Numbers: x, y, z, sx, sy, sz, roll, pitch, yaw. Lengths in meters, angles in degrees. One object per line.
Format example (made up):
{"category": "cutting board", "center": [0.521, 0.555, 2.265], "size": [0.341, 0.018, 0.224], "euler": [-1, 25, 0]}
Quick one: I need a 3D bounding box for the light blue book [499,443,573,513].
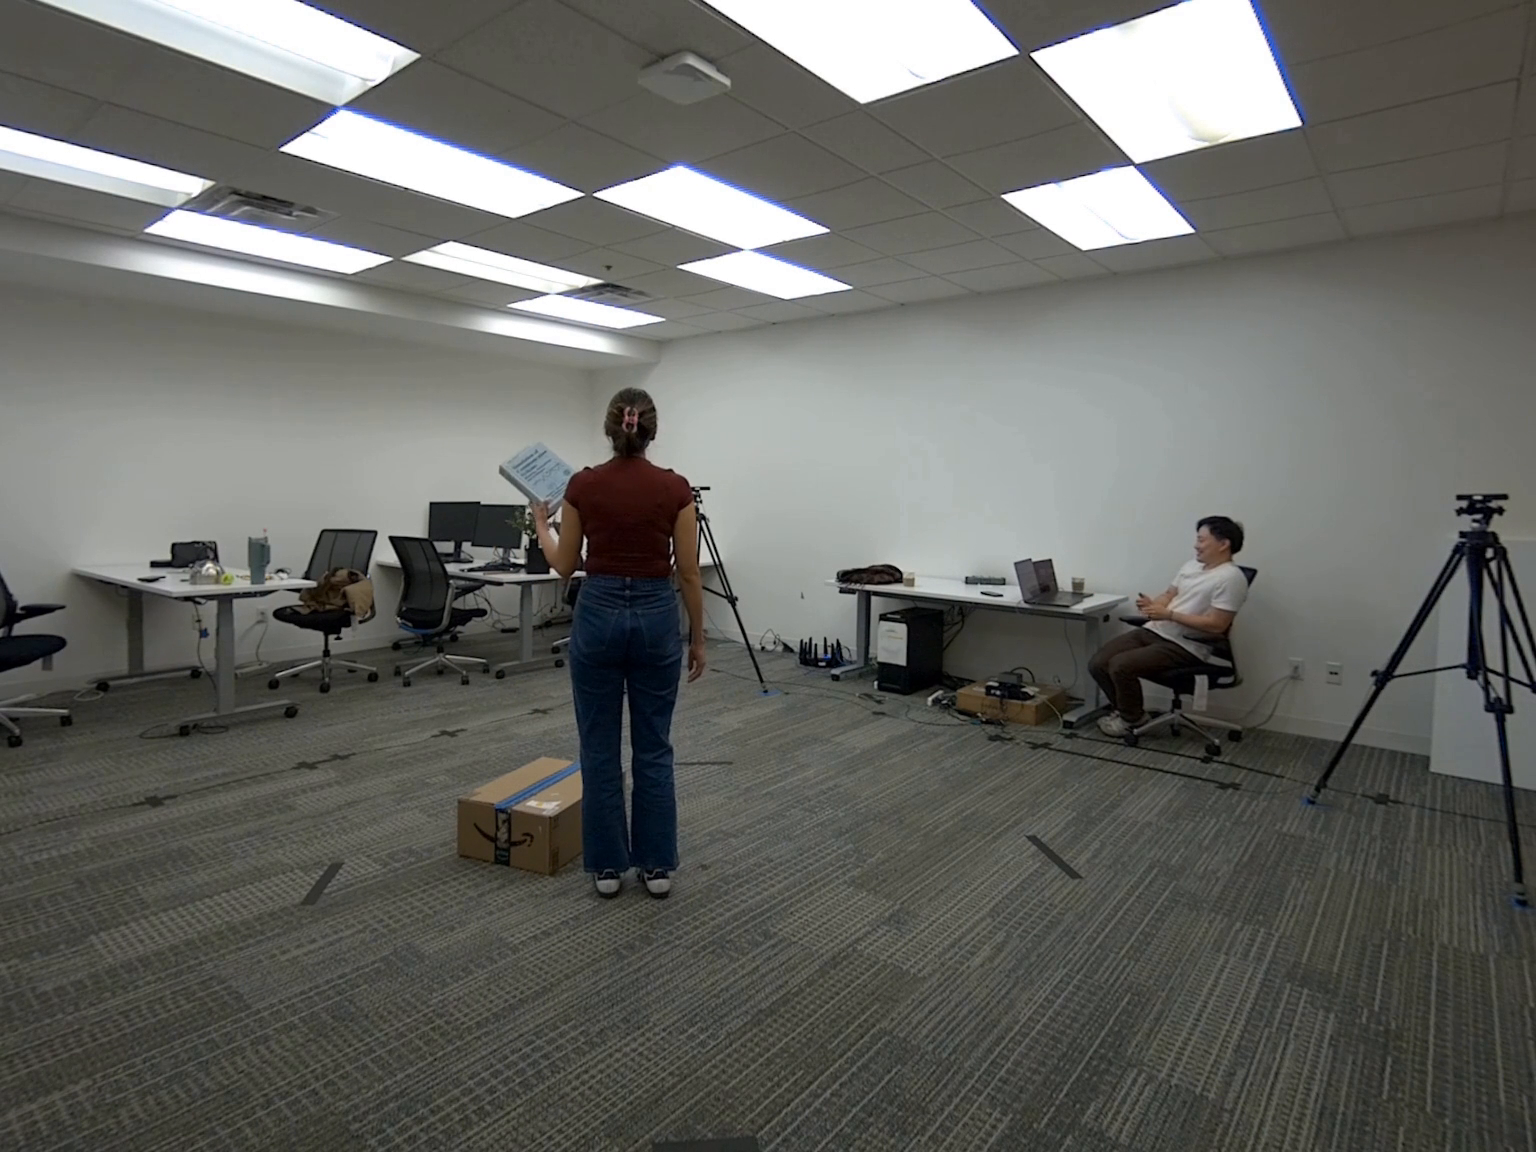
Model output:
{"category": "light blue book", "center": [-0.858, -0.369, 3.195], "size": [0.191, 0.265, 0.058], "euler": [-43, -13, -34]}
